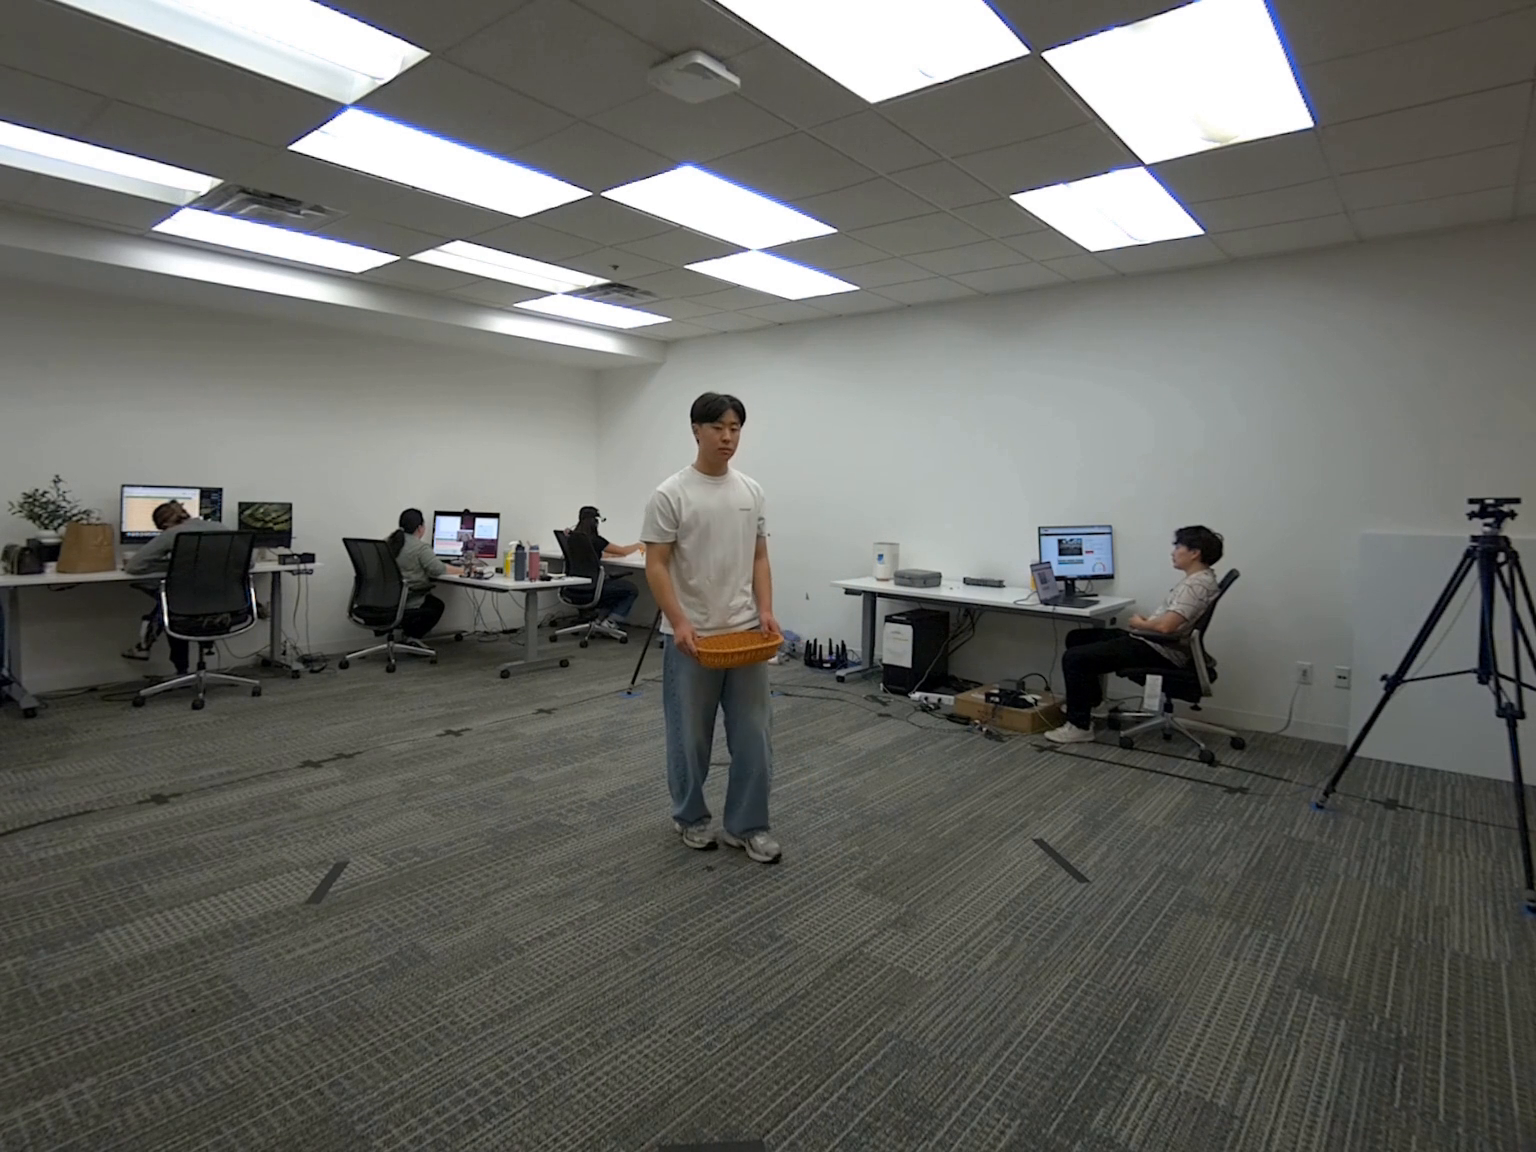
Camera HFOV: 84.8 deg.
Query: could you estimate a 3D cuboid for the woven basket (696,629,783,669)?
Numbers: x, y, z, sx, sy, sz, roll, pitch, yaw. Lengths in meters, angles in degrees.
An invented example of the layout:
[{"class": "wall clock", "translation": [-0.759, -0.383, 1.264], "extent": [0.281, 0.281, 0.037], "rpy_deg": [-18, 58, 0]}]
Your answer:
[{"class": "woven basket", "translation": [-0.121, 0.260, 3.045], "extent": [0.342, 0.073, 0.261], "rpy_deg": [-10, 12, -33]}]
